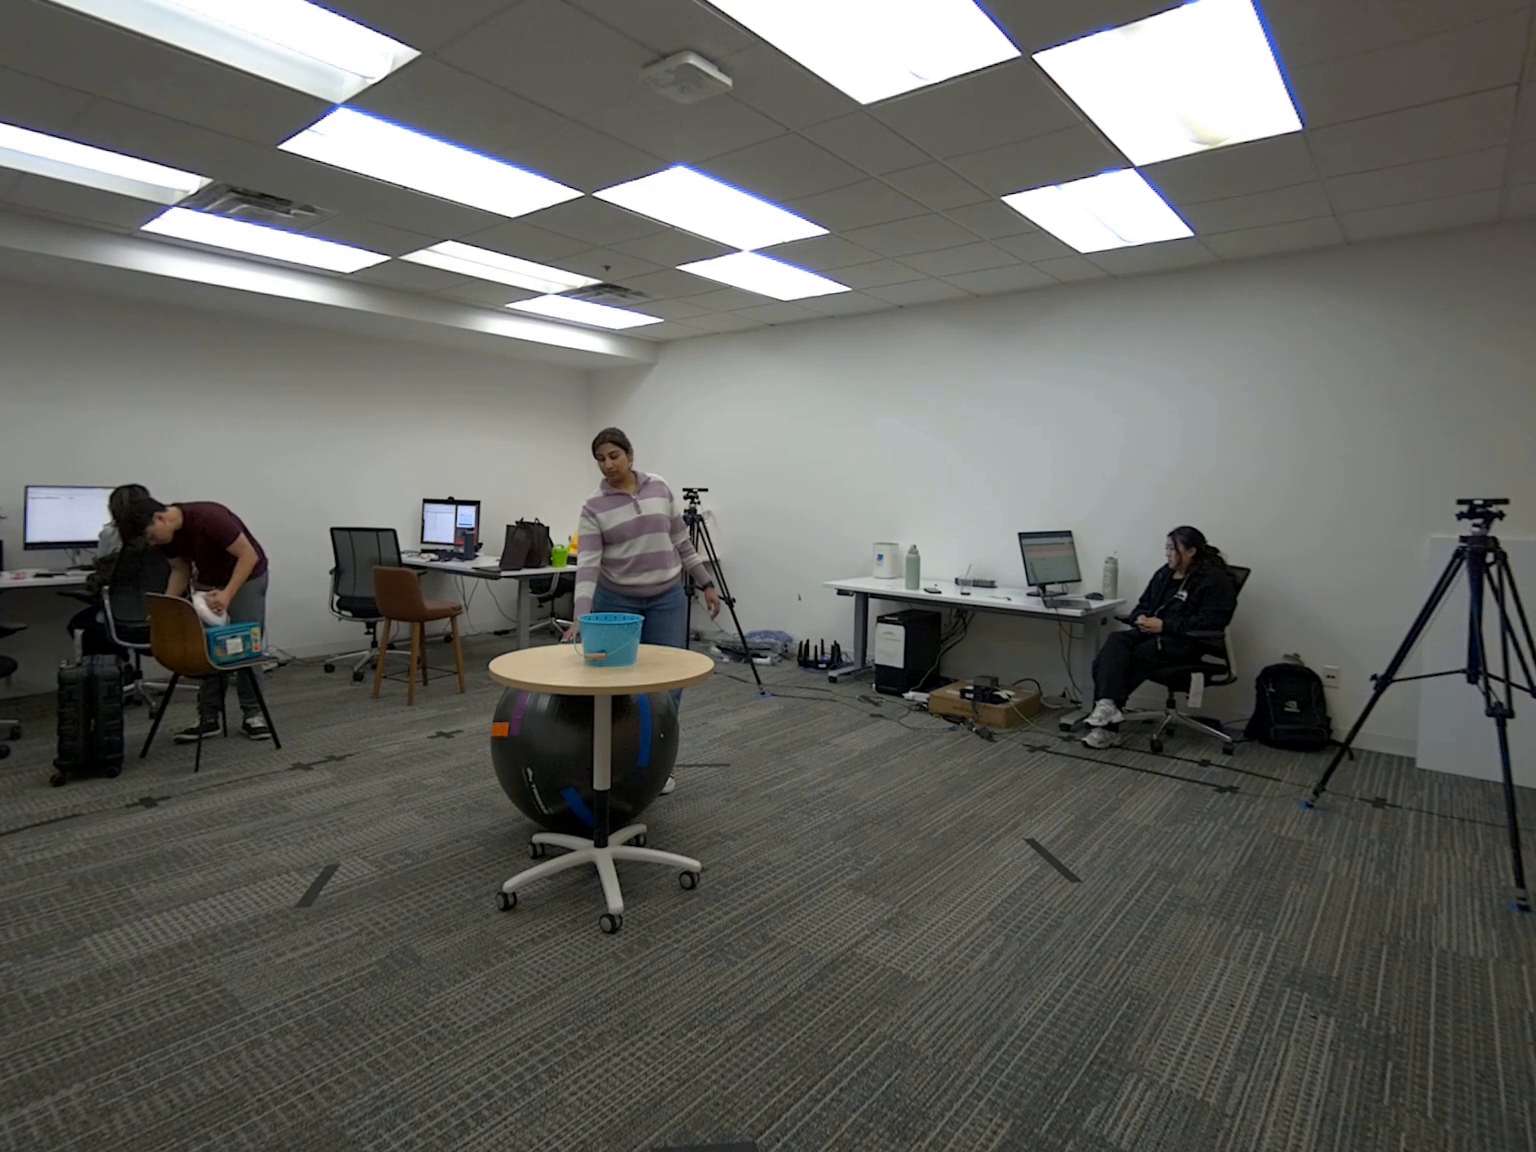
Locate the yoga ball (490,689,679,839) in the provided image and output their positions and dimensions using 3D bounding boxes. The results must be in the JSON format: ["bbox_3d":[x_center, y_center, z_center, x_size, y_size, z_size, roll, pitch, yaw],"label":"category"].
[{"bbox_3d":[-0.758,0.652,3.471,0.757,0.755,0.762,1,4,-2],"label":"yoga ball"}]
